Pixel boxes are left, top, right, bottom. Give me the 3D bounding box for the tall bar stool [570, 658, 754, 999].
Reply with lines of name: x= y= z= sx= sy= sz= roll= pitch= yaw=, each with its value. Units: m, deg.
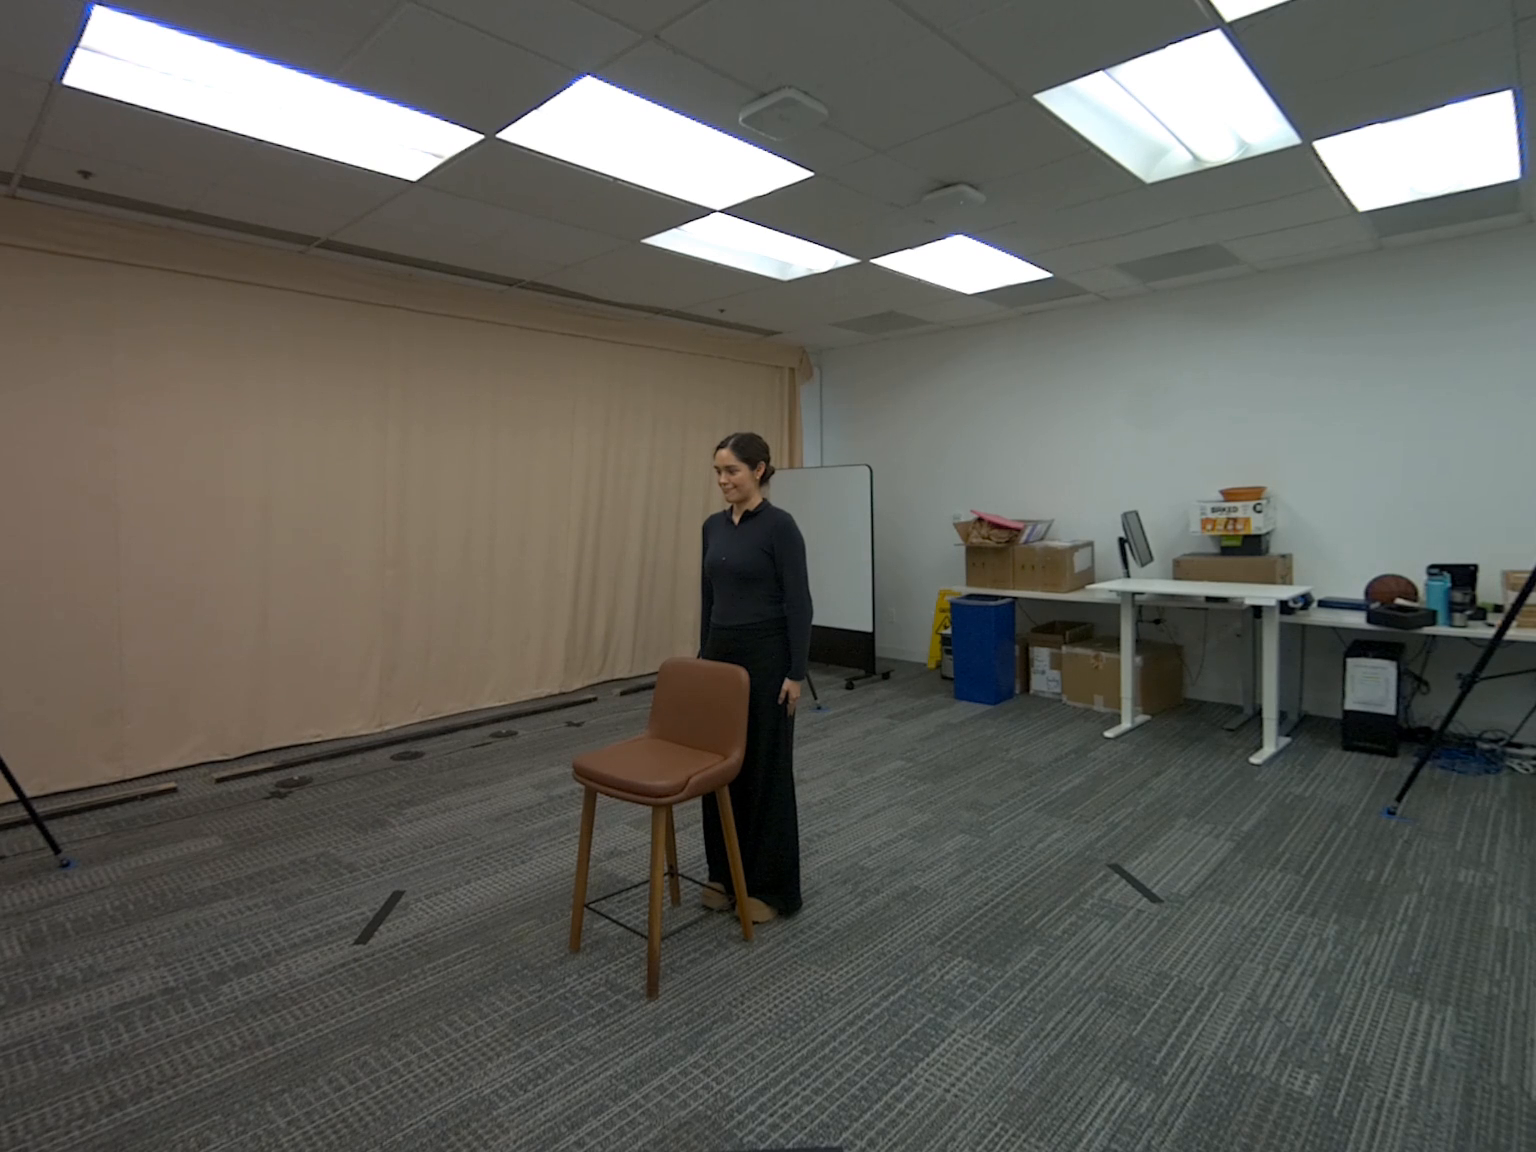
tall bar stool: x=-0.330 y=0.734 z=2.654 sx=0.471 sy=0.889 sz=0.453 roll=2 pitch=2 yaw=43
